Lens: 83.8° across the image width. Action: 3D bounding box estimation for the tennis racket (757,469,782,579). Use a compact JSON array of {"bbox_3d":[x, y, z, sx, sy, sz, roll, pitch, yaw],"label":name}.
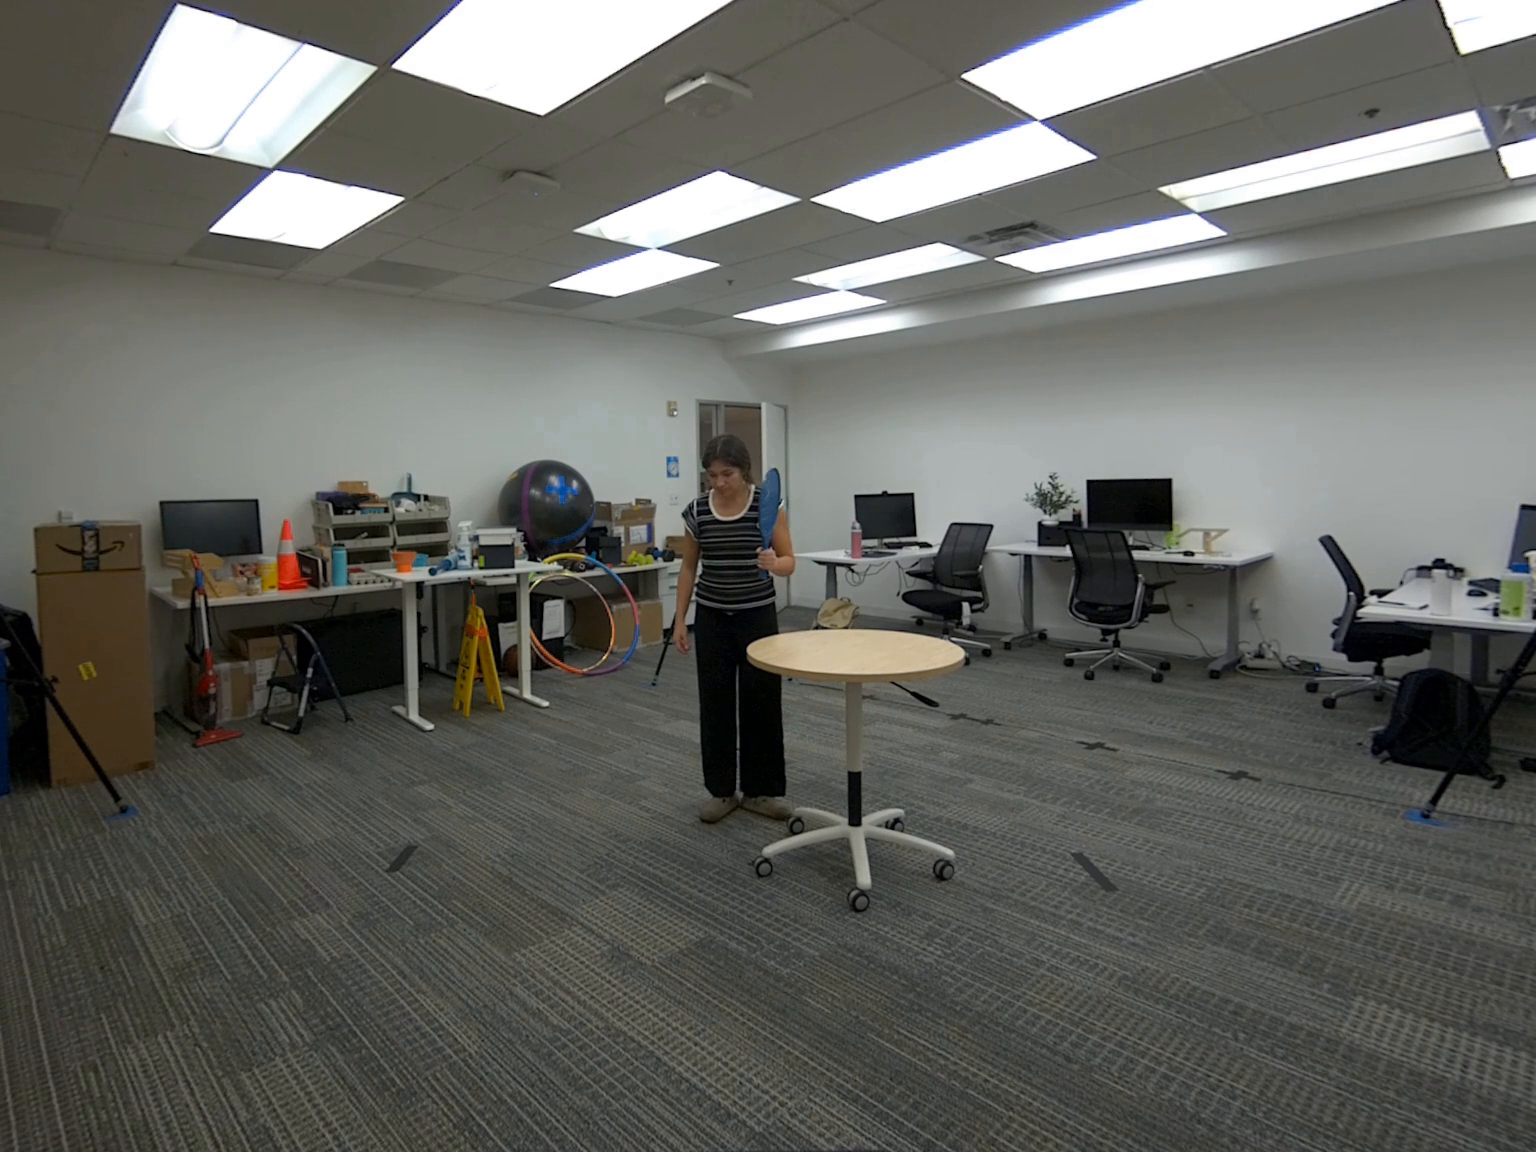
[{"bbox_3d":[0.003,-0.199,3.254,0.032,0.428,0.212,8,15,16],"label":"tennis racket"}]
